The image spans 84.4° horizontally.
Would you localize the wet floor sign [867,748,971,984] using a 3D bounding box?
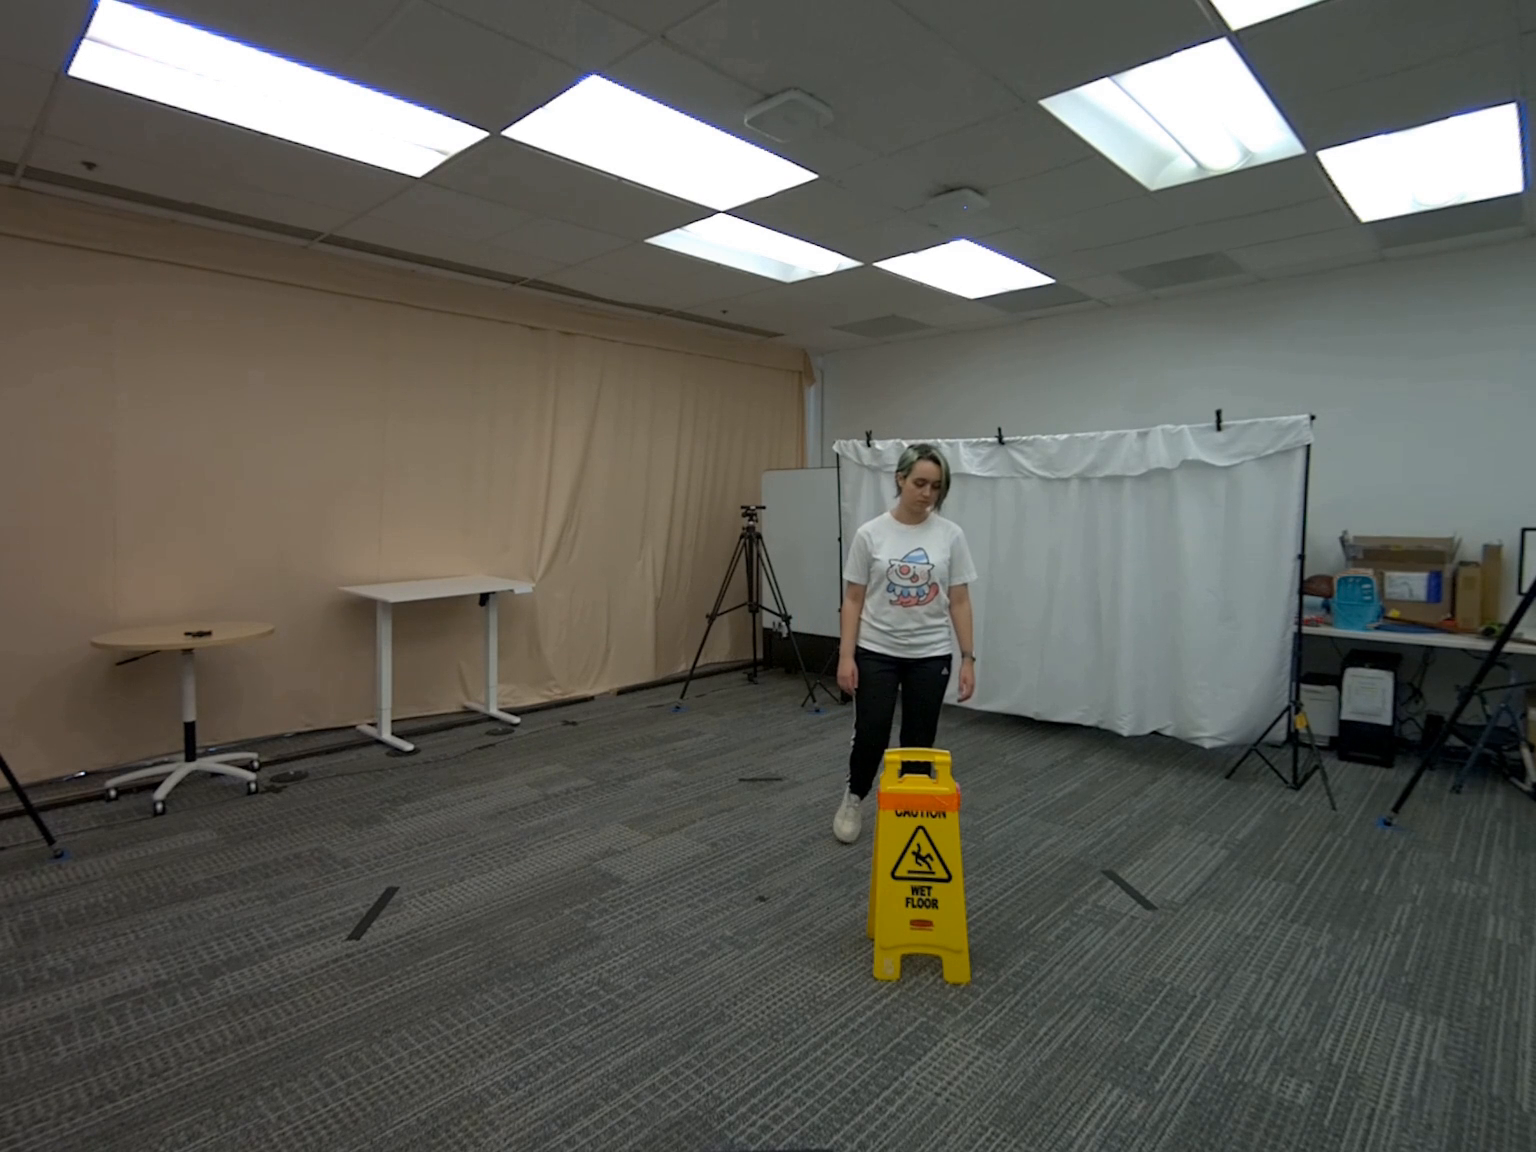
[{"bbox_3d":[0.469,0.852,2.569,0.284,0.644,0.289,2,4,3],"label":"wet floor sign"}]
